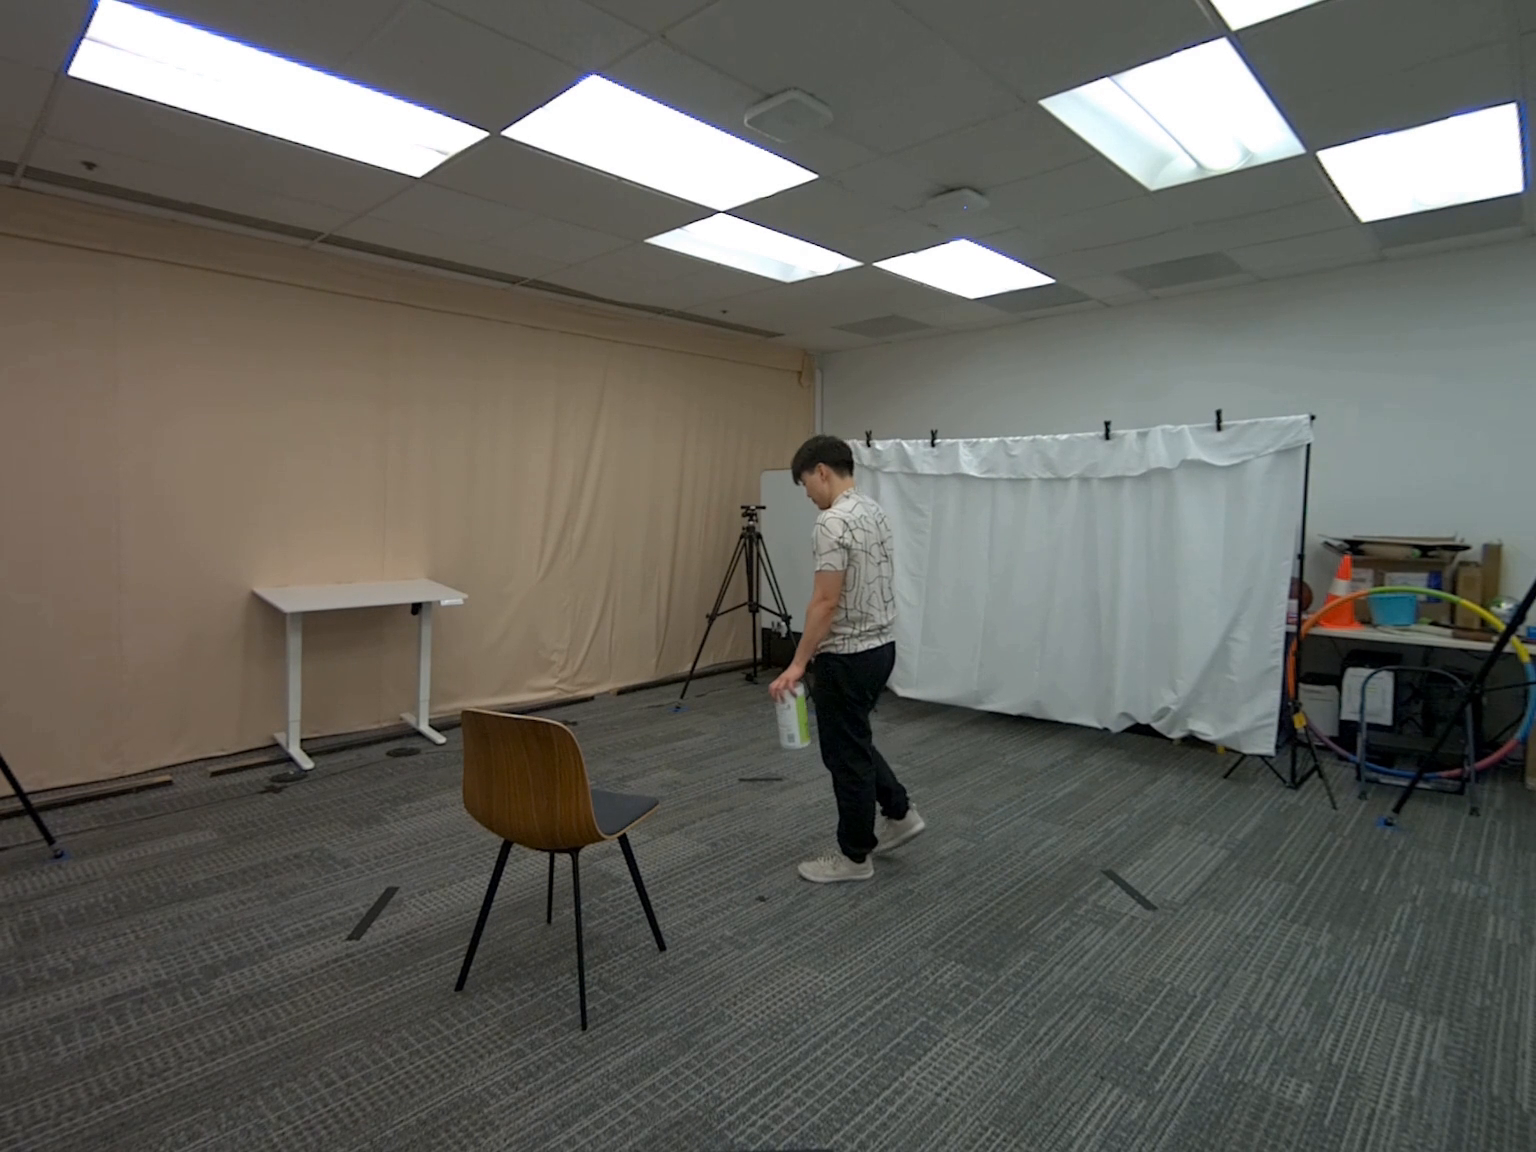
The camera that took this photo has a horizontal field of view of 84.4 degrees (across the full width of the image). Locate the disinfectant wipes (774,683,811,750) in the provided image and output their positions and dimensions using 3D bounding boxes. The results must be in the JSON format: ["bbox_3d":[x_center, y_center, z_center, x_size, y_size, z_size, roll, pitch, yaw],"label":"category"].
[{"bbox_3d":[0.095,0.490,2.965,0.118,0.216,0.118,-5,6,-1],"label":"disinfectant wipes"}]
